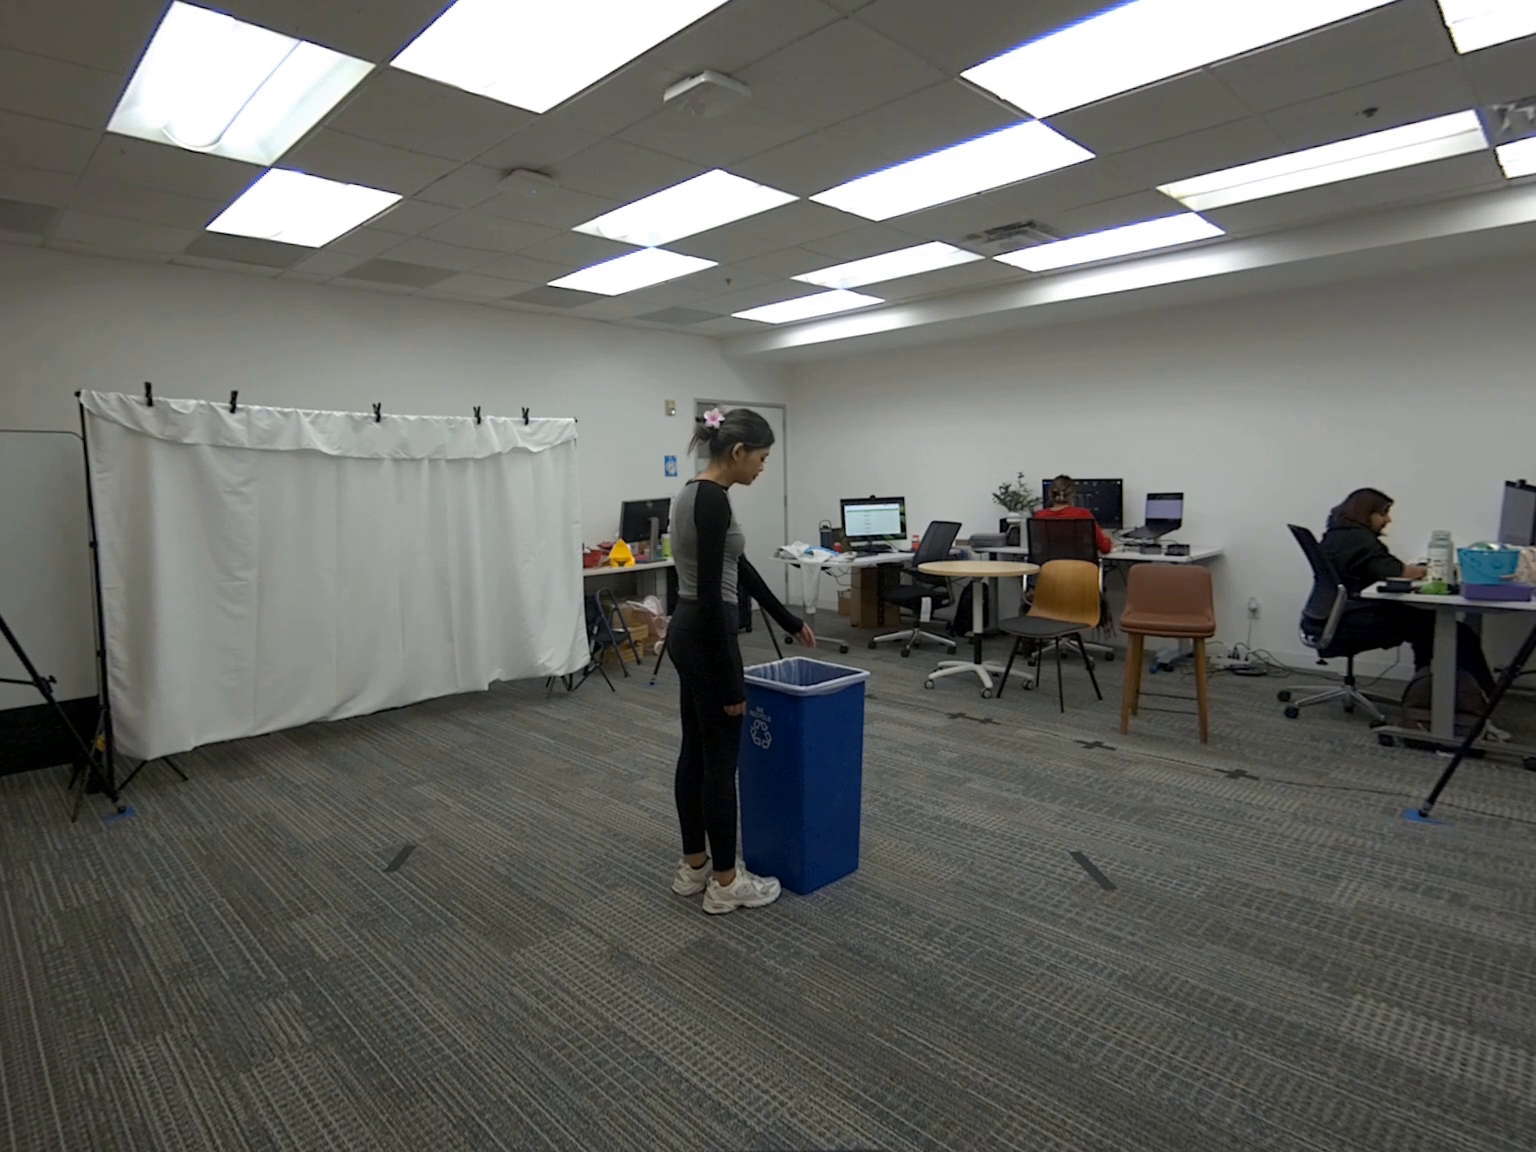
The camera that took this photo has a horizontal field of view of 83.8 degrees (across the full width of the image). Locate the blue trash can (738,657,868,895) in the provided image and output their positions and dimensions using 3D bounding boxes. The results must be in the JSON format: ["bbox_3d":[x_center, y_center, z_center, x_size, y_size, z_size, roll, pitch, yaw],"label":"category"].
[{"bbox_3d":[0.124,0.690,3.032,0.368,0.711,0.385,-5,5,-43],"label":"blue trash can"}]
